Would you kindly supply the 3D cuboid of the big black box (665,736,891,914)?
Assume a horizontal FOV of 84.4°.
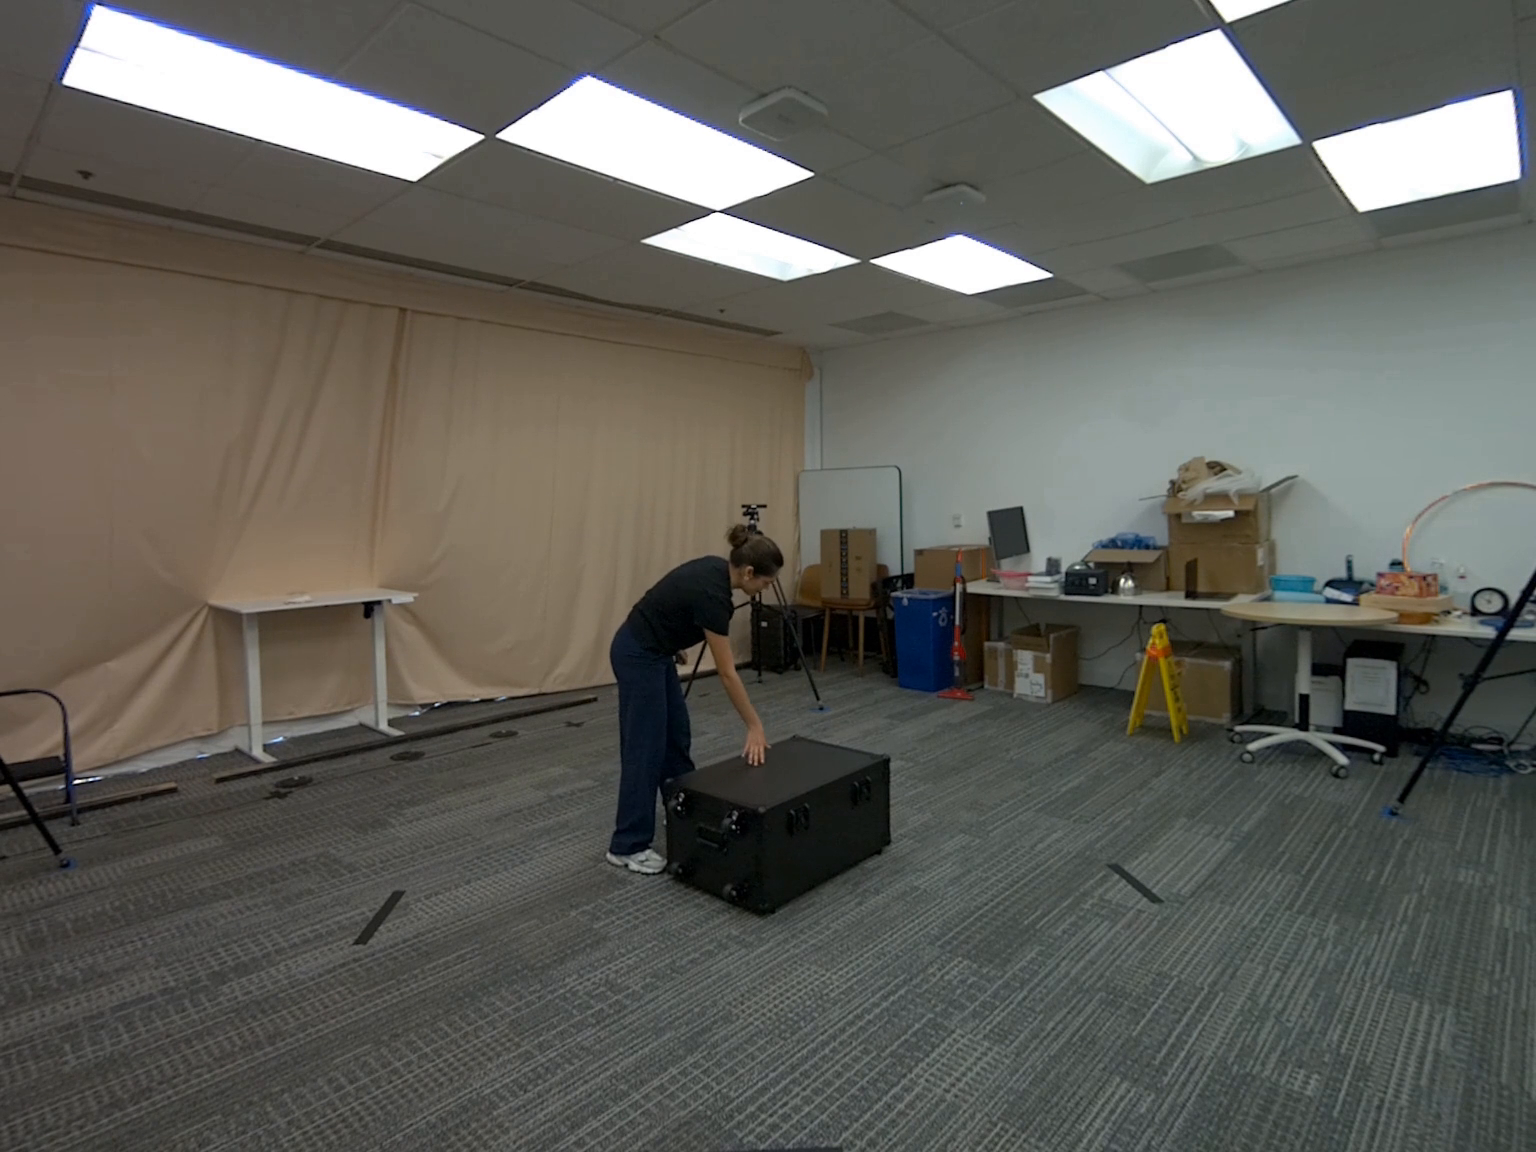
[{"bbox_3d":[0.050,0.910,3.221,0.538,0.395,0.836,3,7,42],"label":"big black box"}]
